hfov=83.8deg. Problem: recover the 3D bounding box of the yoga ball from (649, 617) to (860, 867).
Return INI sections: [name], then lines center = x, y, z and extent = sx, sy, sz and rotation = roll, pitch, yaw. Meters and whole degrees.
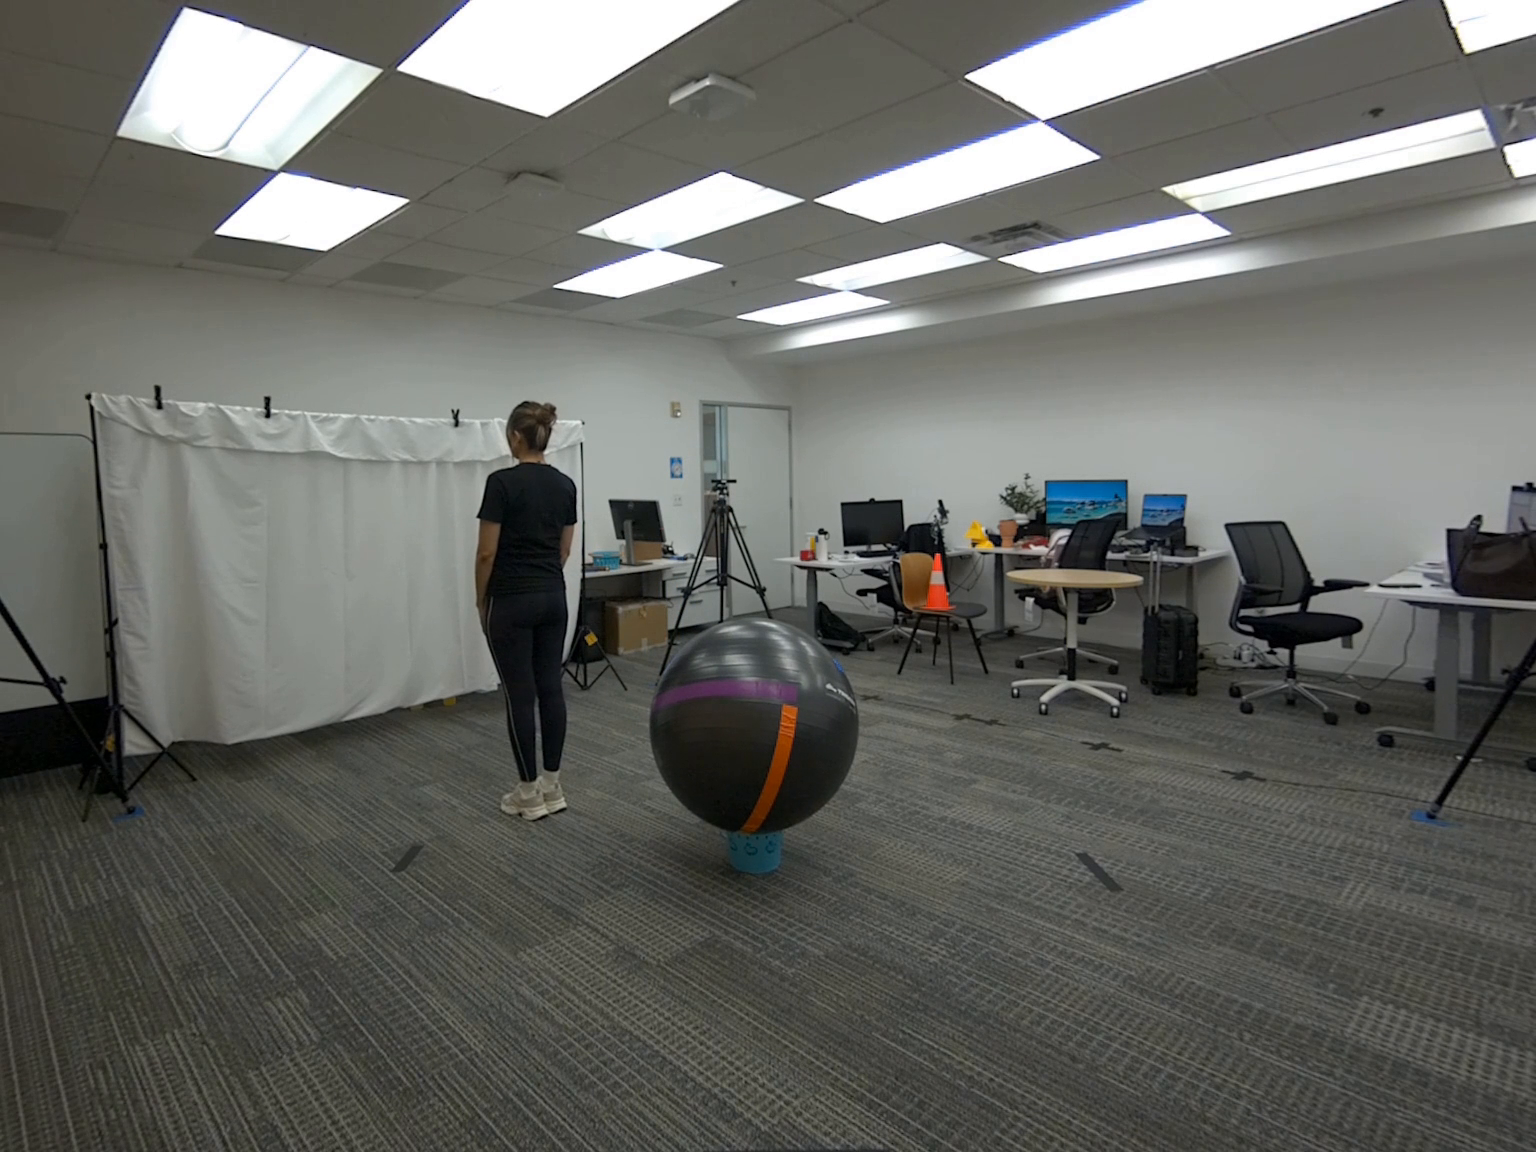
[yoga ball]
center = -0.051, 0.538, 3.104
extent = 0.757, 0.755, 0.762
rotation = -1, 5, -2
